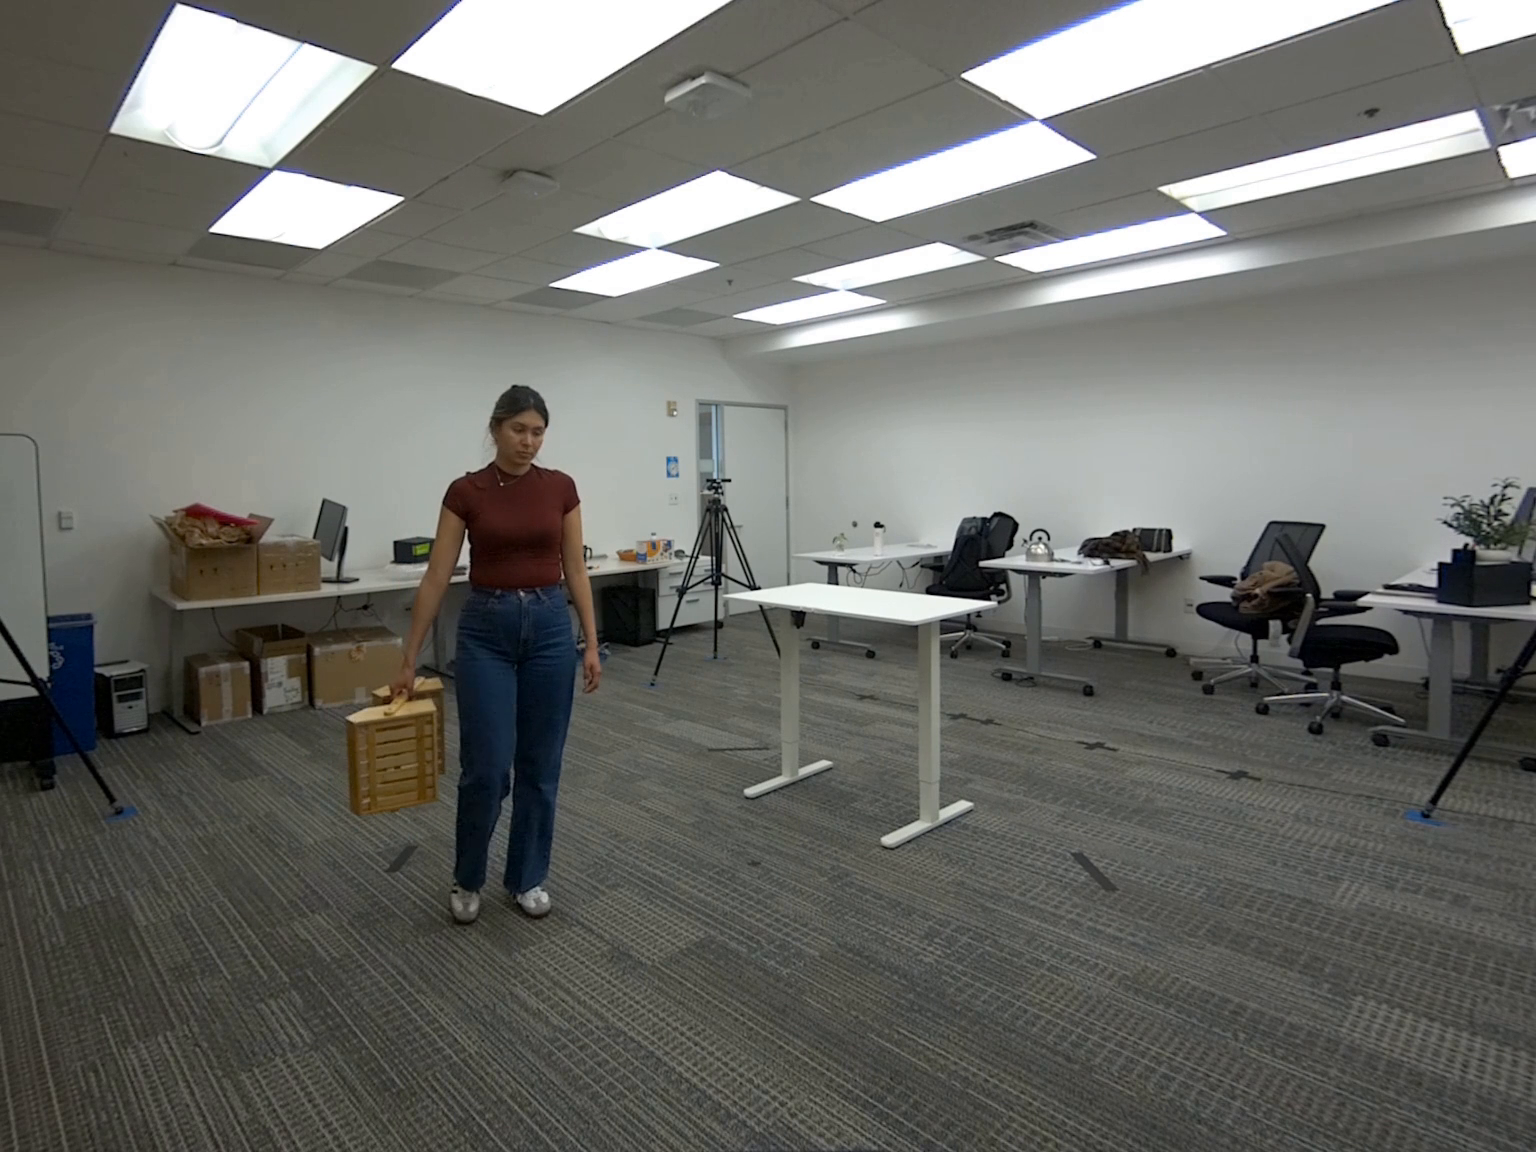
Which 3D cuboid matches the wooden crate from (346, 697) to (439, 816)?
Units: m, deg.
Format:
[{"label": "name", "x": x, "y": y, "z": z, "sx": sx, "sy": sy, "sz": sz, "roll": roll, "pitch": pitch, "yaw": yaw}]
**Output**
[{"label": "wooden crate", "x": -1.157, "y": 0.521, "z": 2.671, "sx": 0.295, "sy": 0.321, "sz": 0.282, "roll": -4, "pitch": 15, "yaw": -29}]
